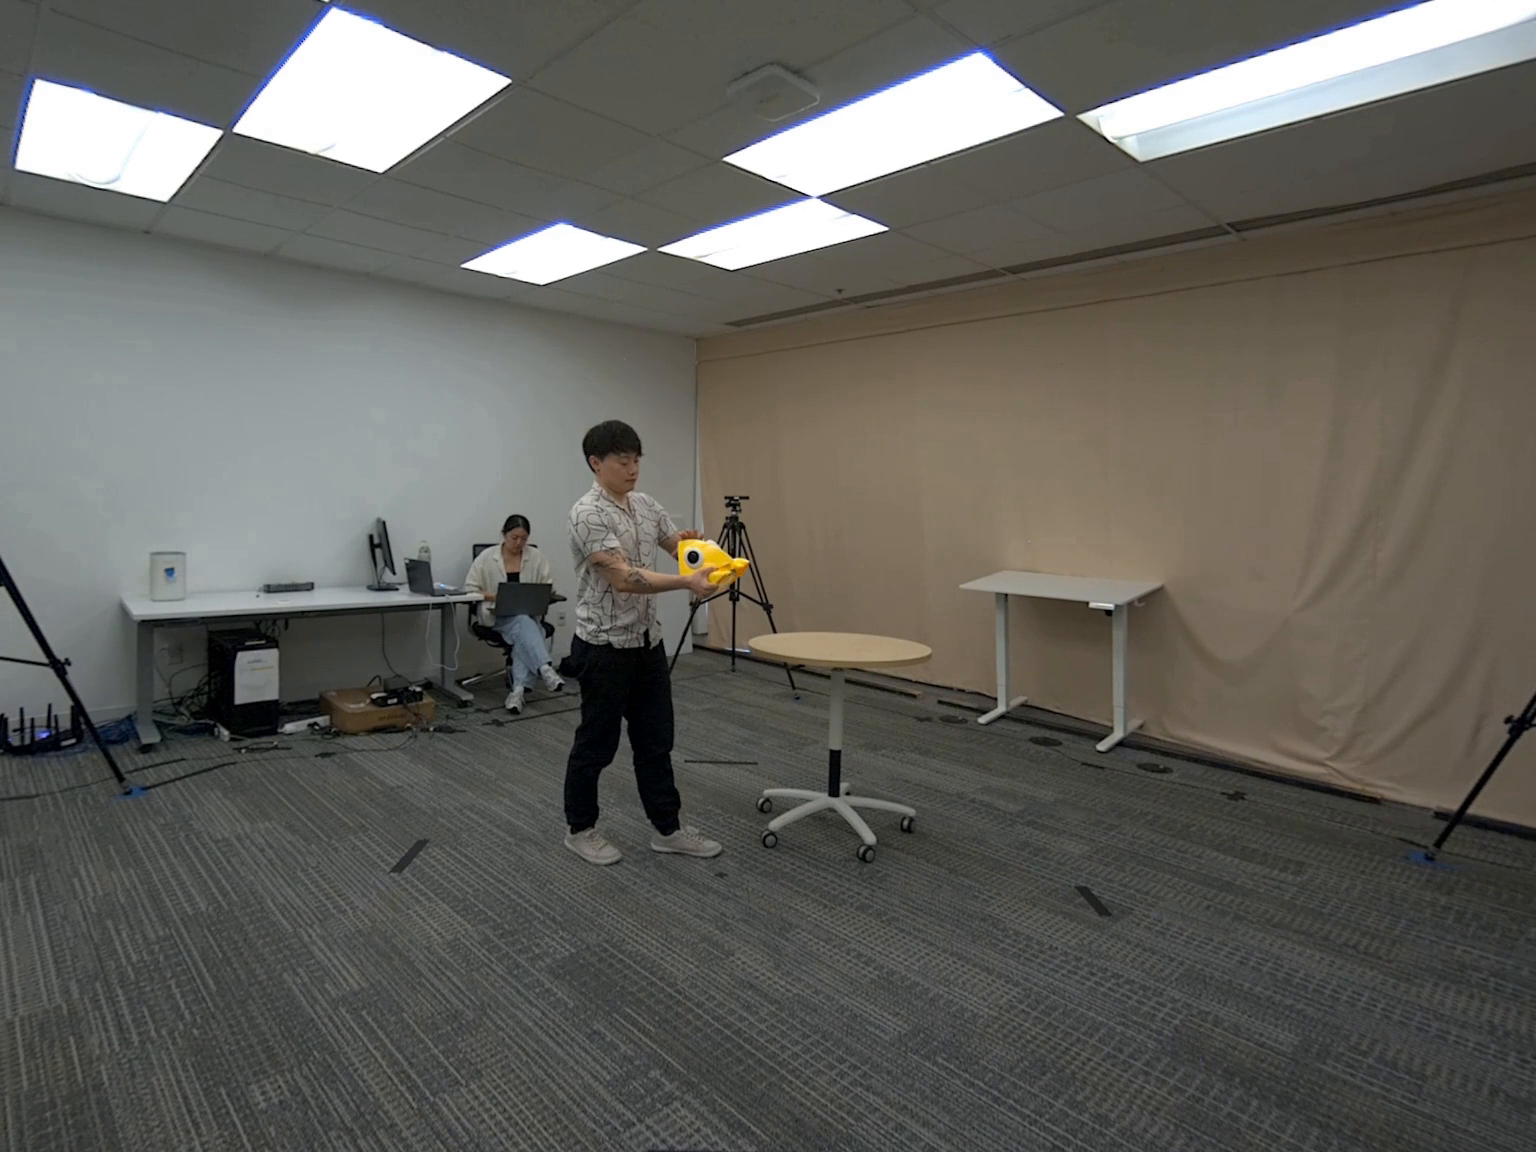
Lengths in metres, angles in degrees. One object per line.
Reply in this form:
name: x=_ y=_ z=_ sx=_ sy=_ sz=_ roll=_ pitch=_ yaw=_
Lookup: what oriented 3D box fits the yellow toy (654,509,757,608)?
yellow toy: x=-0.223 y=-0.066 z=2.981 sx=0.202 sy=0.234 sz=0.193 roll=-26 pitch=-18 yaw=-47
